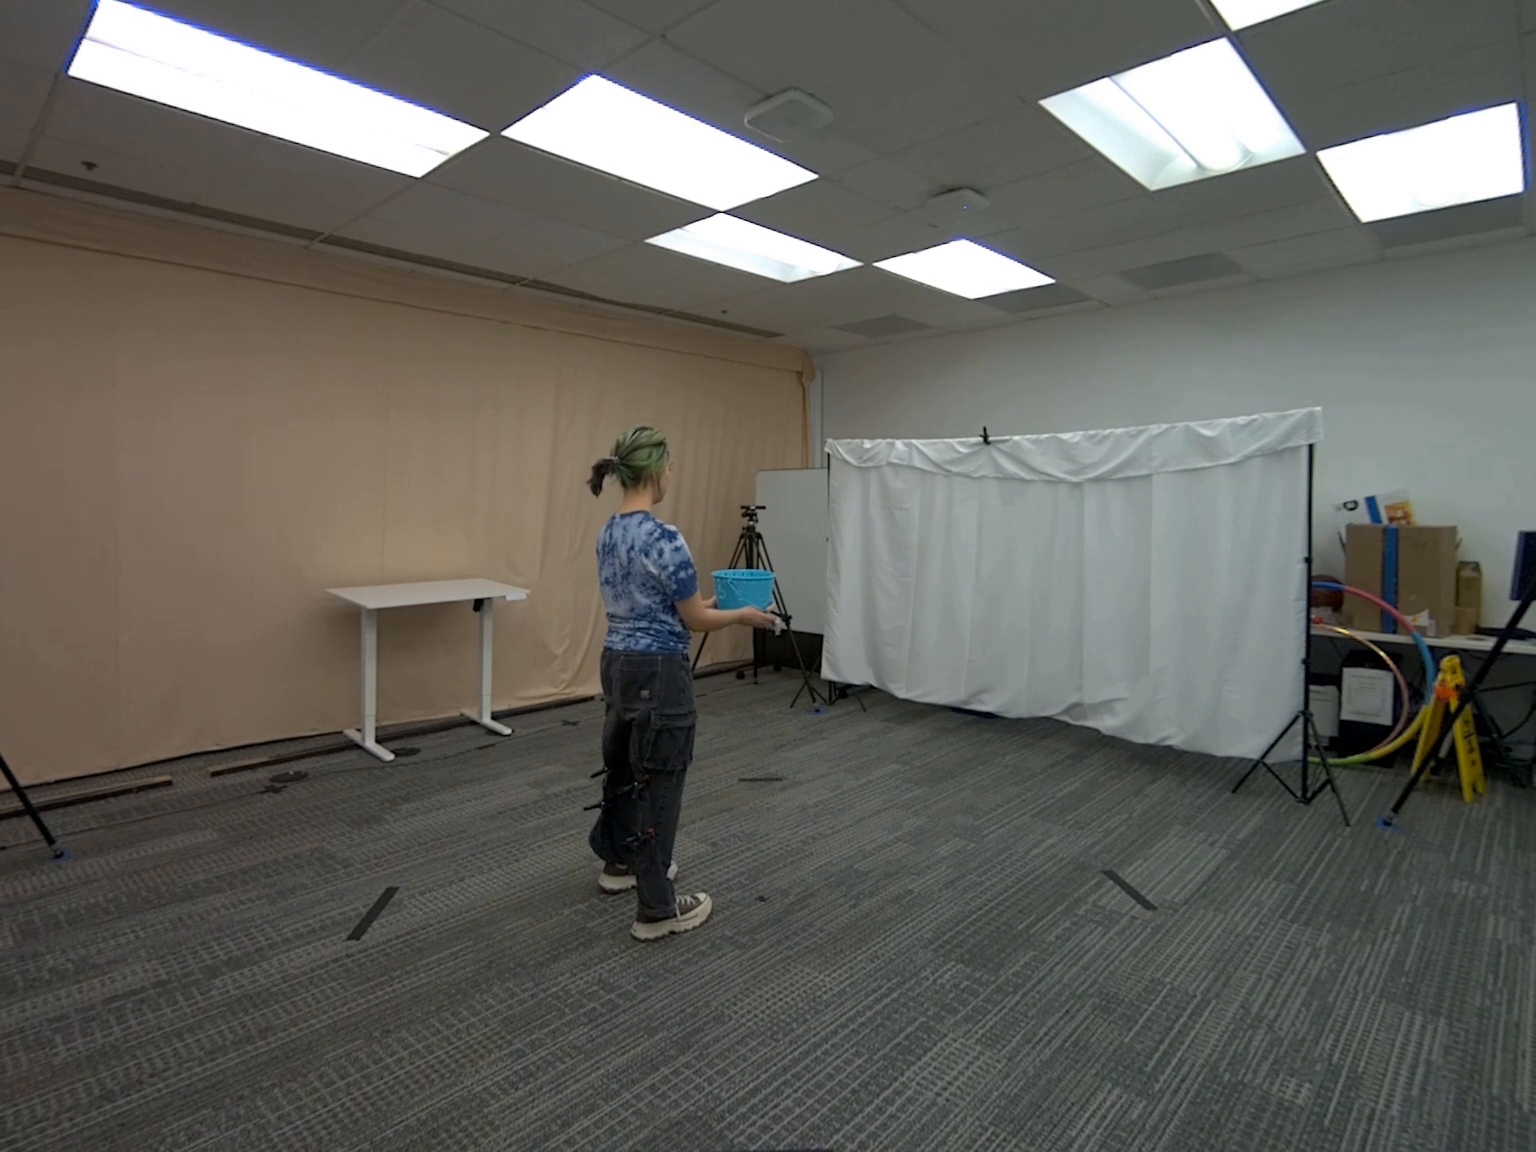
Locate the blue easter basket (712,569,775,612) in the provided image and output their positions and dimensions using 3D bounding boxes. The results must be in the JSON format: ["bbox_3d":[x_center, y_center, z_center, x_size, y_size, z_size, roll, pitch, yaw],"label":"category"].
[{"bbox_3d":[-0.097,0.070,3.037,0.243,0.155,0.245,-1,6,-2],"label":"blue easter basket"}]
